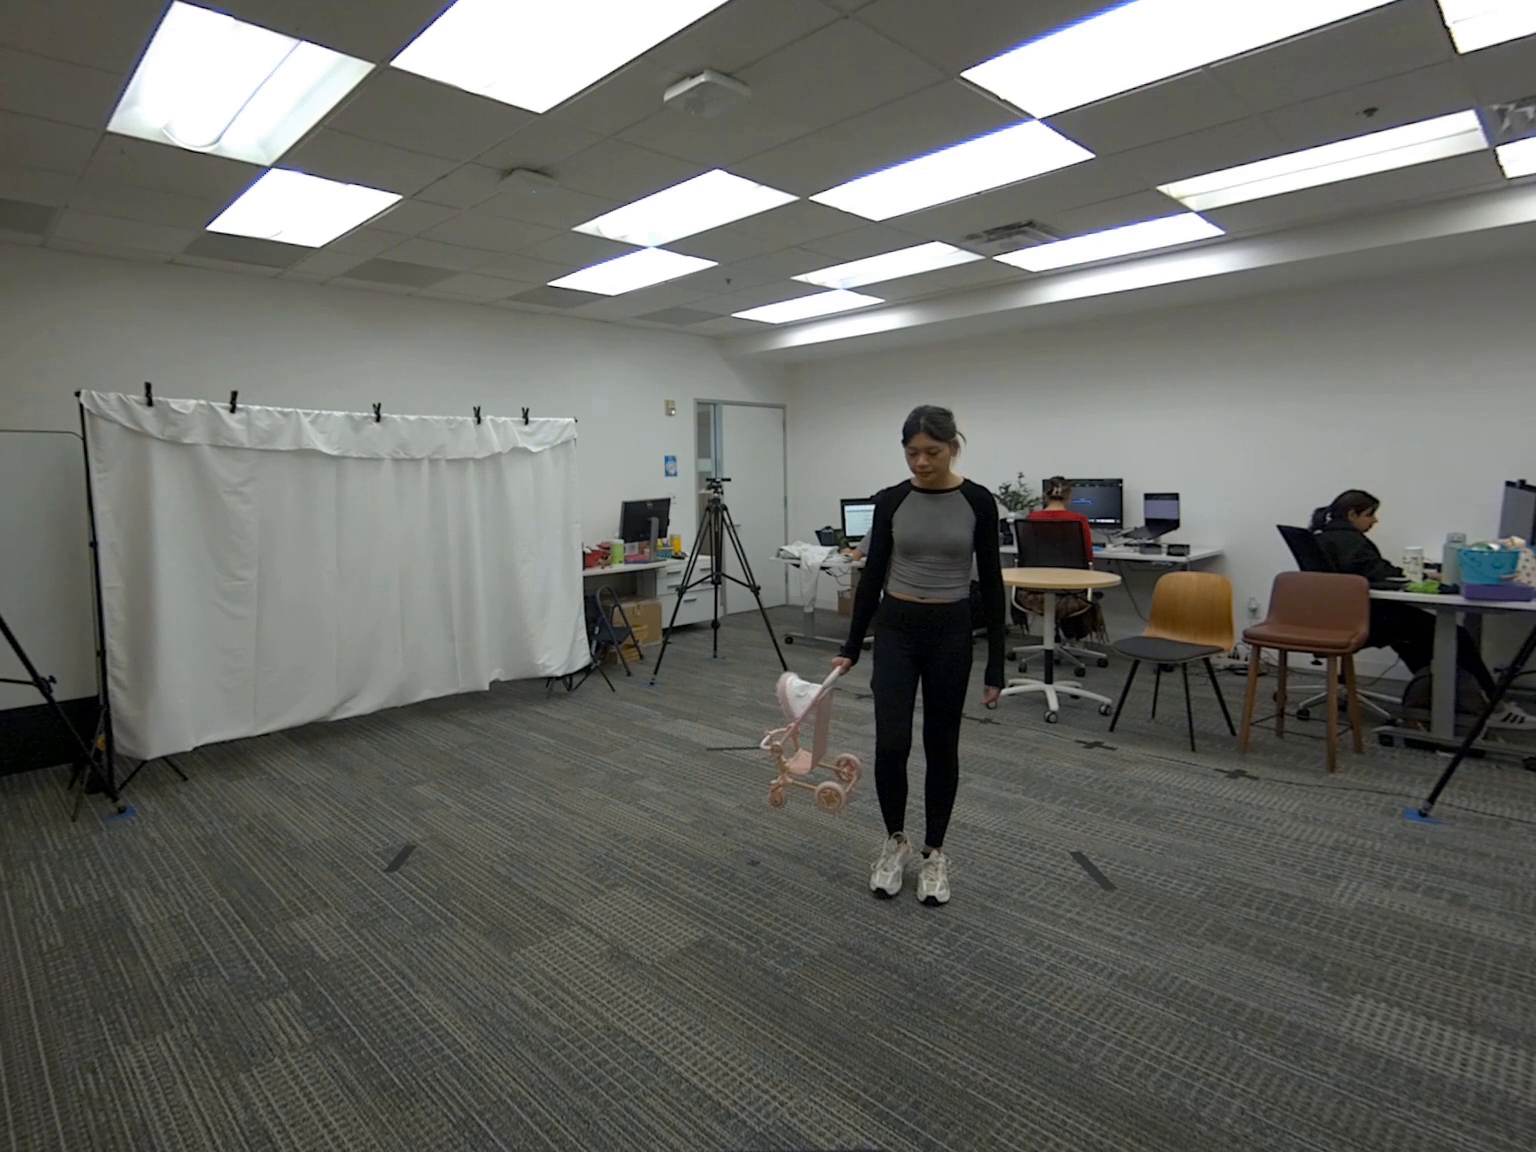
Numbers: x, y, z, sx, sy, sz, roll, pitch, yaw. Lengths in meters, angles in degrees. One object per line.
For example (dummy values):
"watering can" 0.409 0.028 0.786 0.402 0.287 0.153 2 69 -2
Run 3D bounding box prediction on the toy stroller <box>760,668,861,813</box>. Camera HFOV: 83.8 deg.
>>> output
"toy stroller" 0.132 0.577 3.028 0.349 0.531 0.277 -3 8 27
